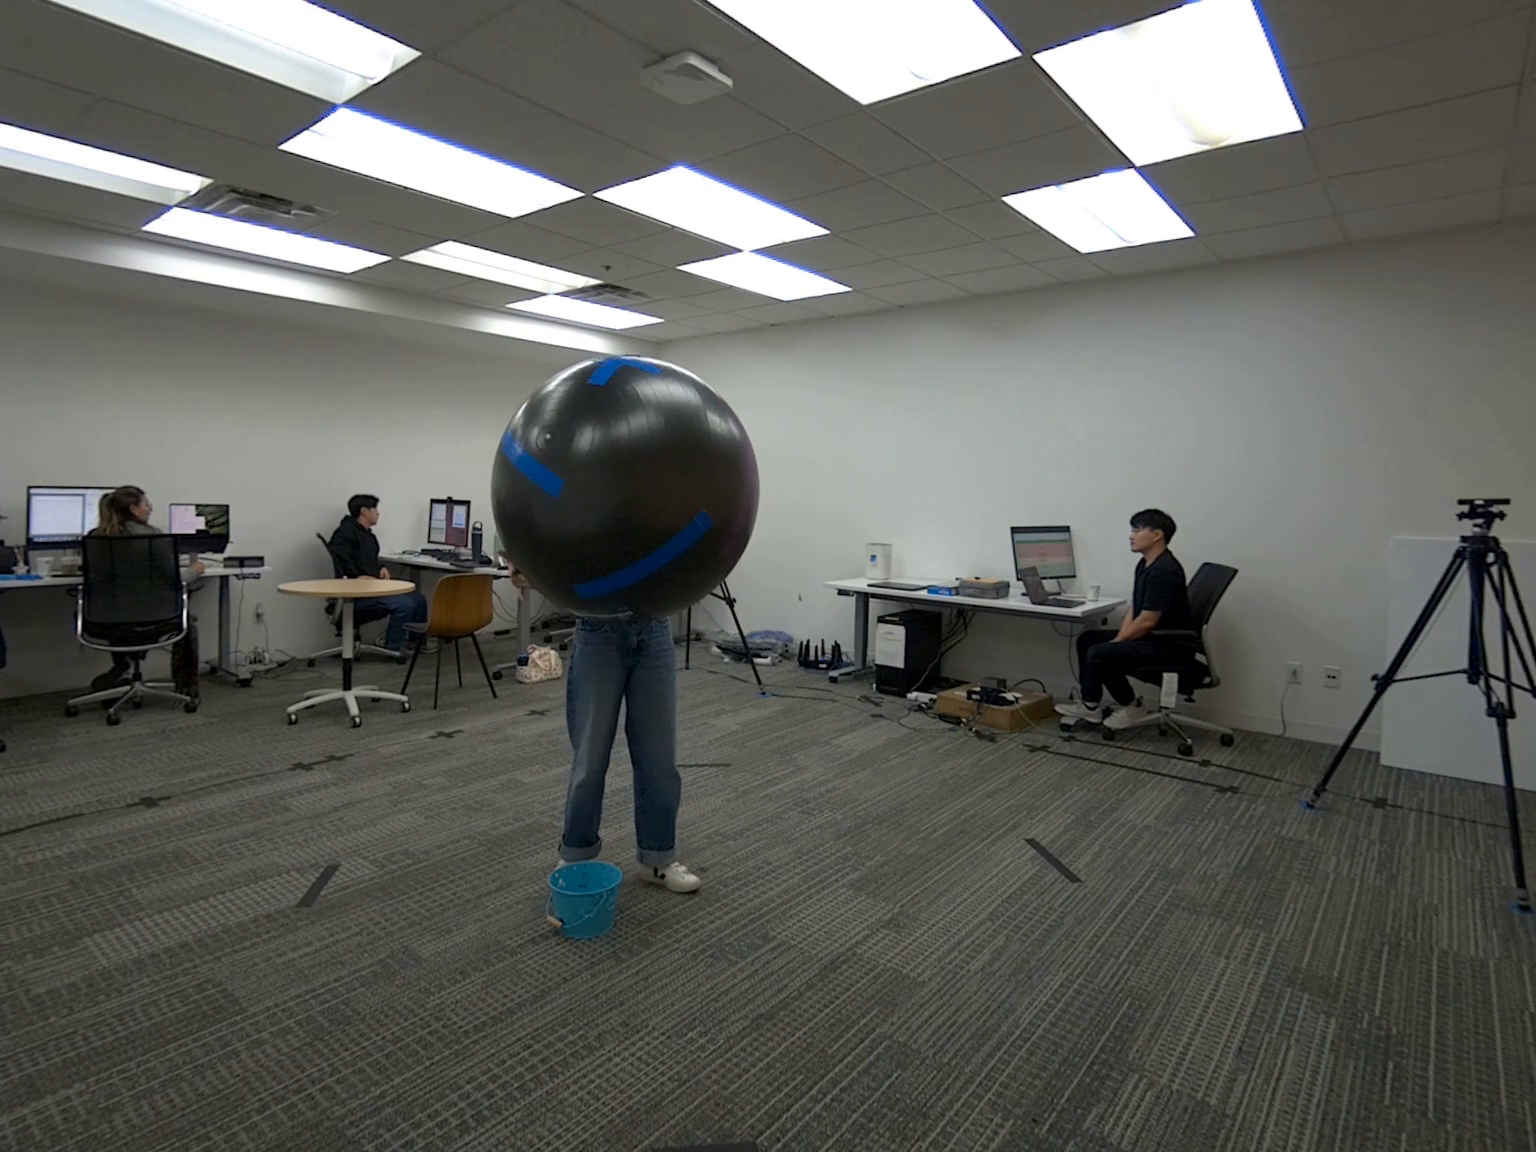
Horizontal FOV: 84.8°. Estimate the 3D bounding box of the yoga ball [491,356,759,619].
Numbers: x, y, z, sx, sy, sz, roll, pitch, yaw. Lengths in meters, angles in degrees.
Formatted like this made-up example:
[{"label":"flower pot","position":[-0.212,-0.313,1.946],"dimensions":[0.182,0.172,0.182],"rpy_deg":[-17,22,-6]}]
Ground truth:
[{"label":"yoga ball","position":[-0.412,-0.240,2.430],"dimensions":[0.757,0.755,0.762],"rpy_deg":[1,4,-2]}]
